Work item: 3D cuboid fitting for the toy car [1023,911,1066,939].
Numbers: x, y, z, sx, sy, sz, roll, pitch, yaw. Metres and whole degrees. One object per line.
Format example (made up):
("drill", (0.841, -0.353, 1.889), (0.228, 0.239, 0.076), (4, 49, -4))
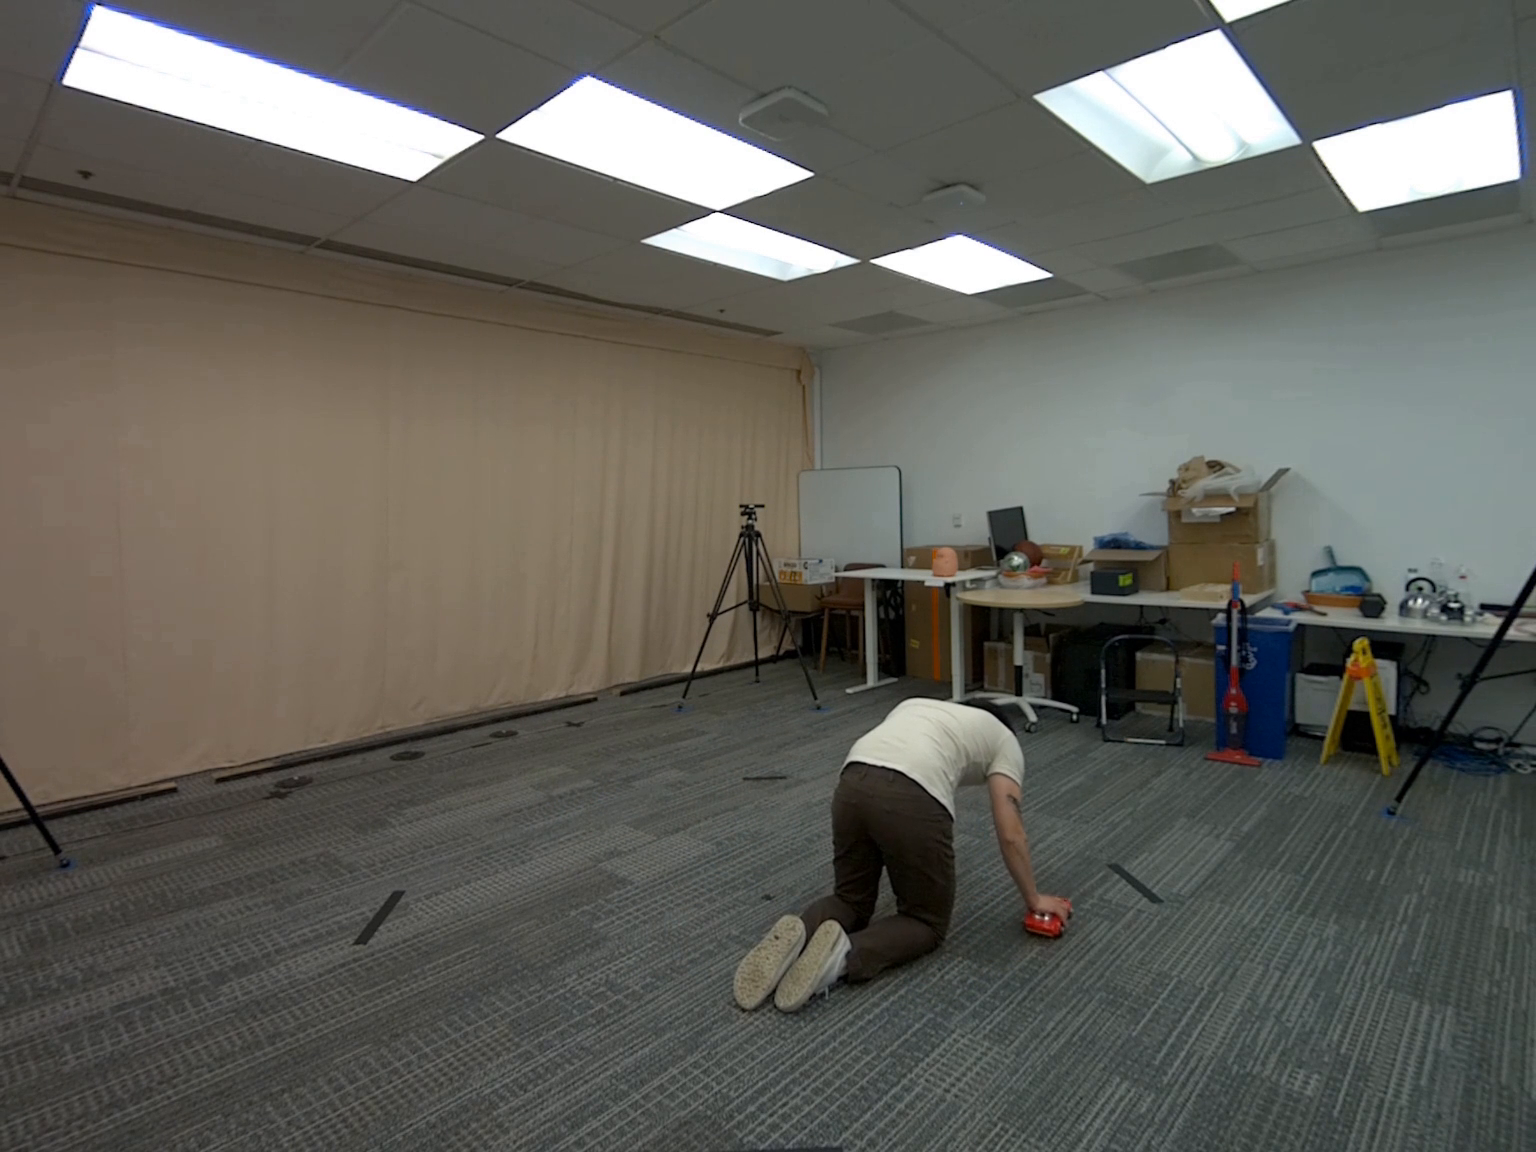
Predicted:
("toy car", (0.919, 1.116, 2.746), (0.134, 0.083, 0.246), (3, -4, 32))
